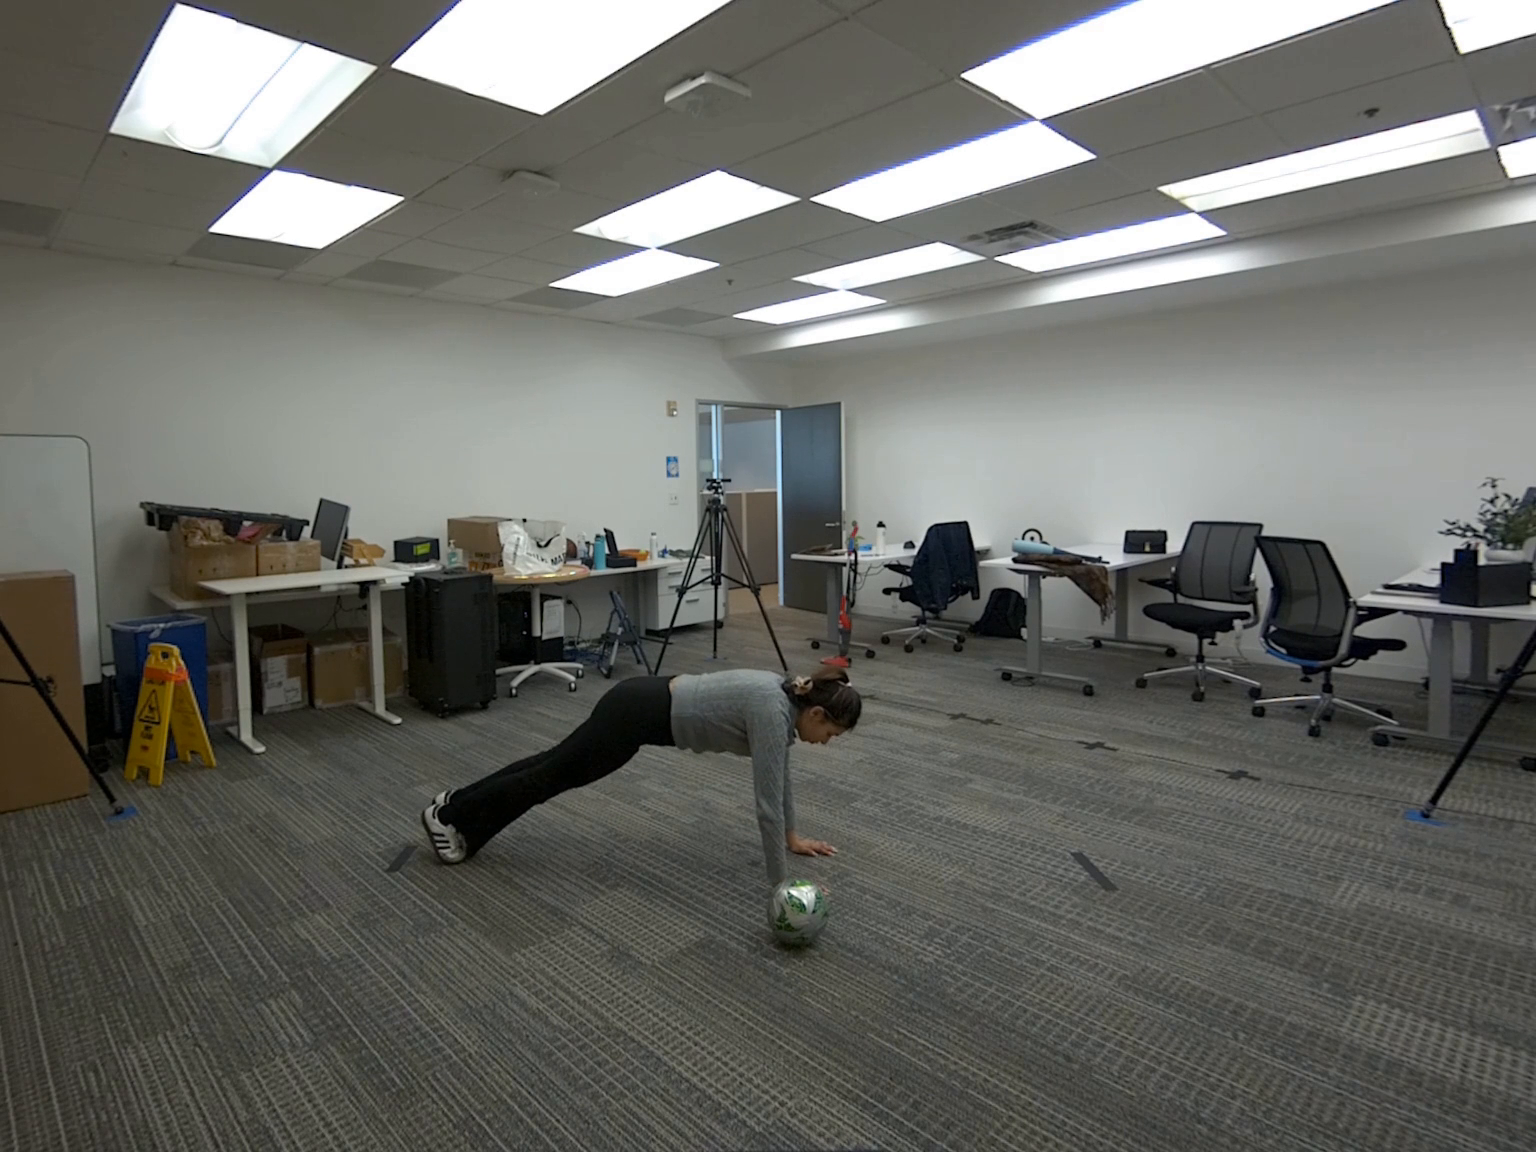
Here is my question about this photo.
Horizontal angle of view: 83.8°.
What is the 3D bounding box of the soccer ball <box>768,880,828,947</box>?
[{"bbox_3d":[0.089,1.013,2.579,0.187,0.187,0.188,-1,5,-2],"label":"soccer ball"}]
